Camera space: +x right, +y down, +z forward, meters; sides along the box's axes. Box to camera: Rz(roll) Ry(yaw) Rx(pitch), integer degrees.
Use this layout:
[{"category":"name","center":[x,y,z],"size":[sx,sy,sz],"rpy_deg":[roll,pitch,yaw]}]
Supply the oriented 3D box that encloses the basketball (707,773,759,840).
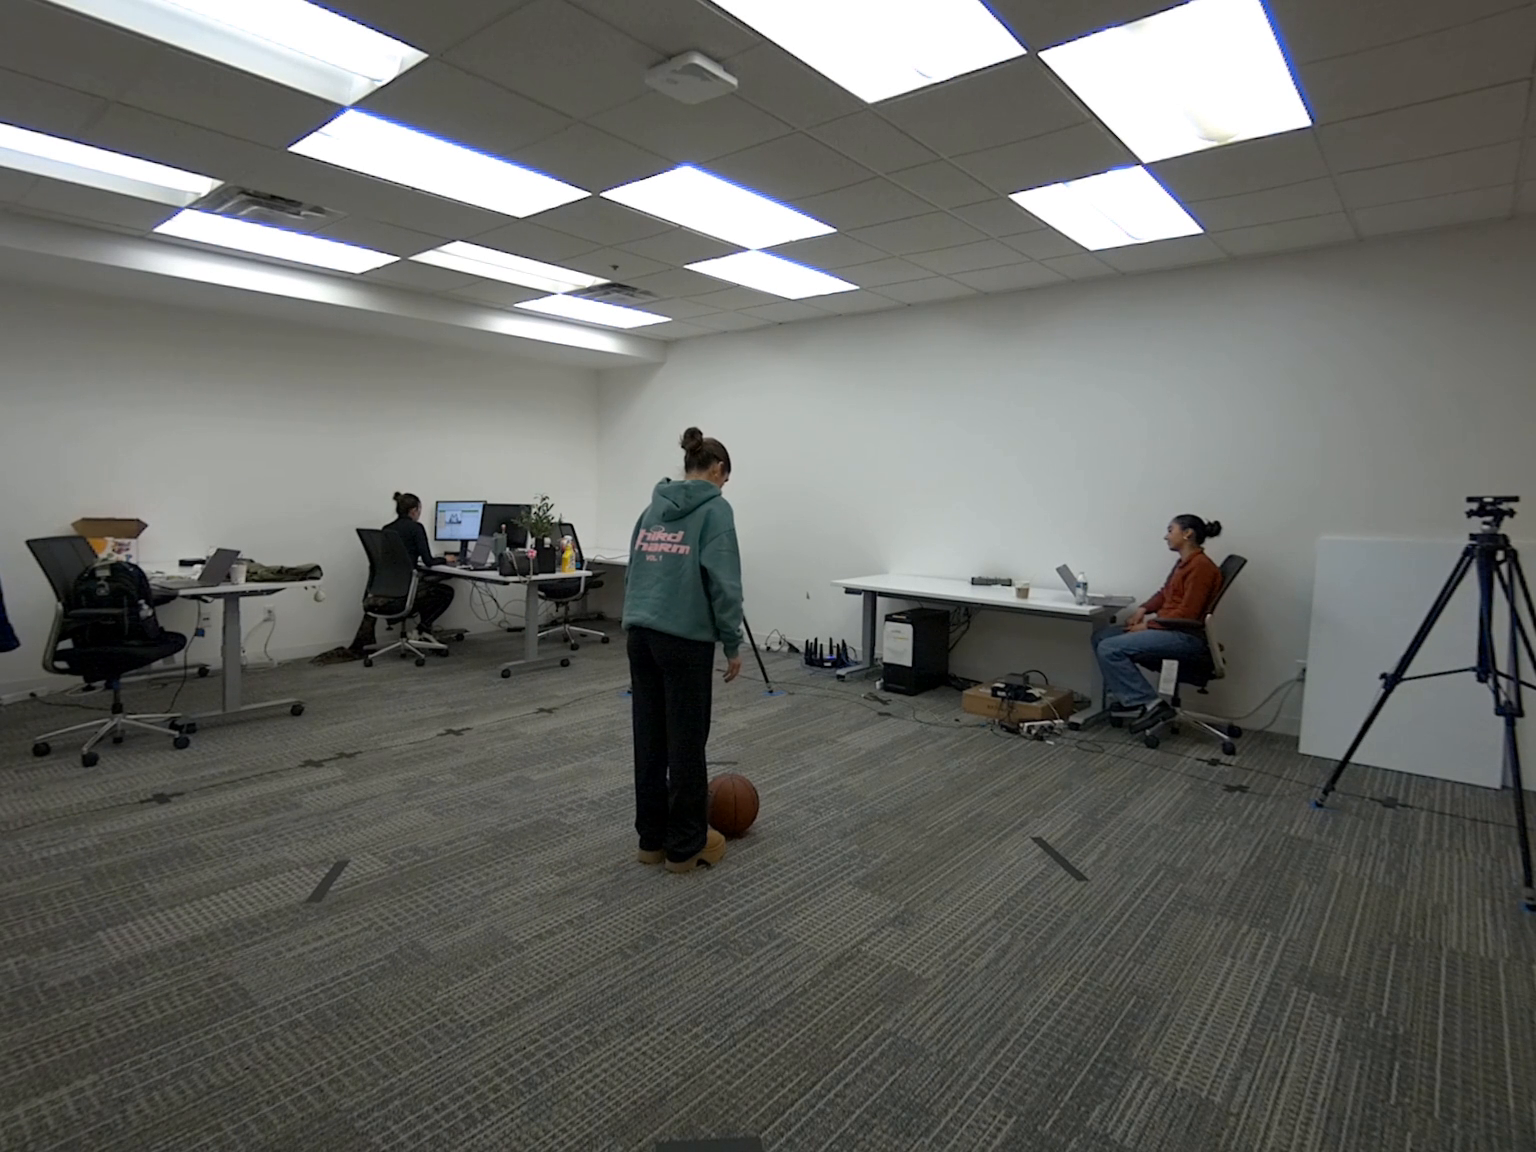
[{"category":"basketball","center":[-0.164,0.911,3.438],"size":[0.235,0.235,0.237],"rpy_deg":[1,4,-2]}]
